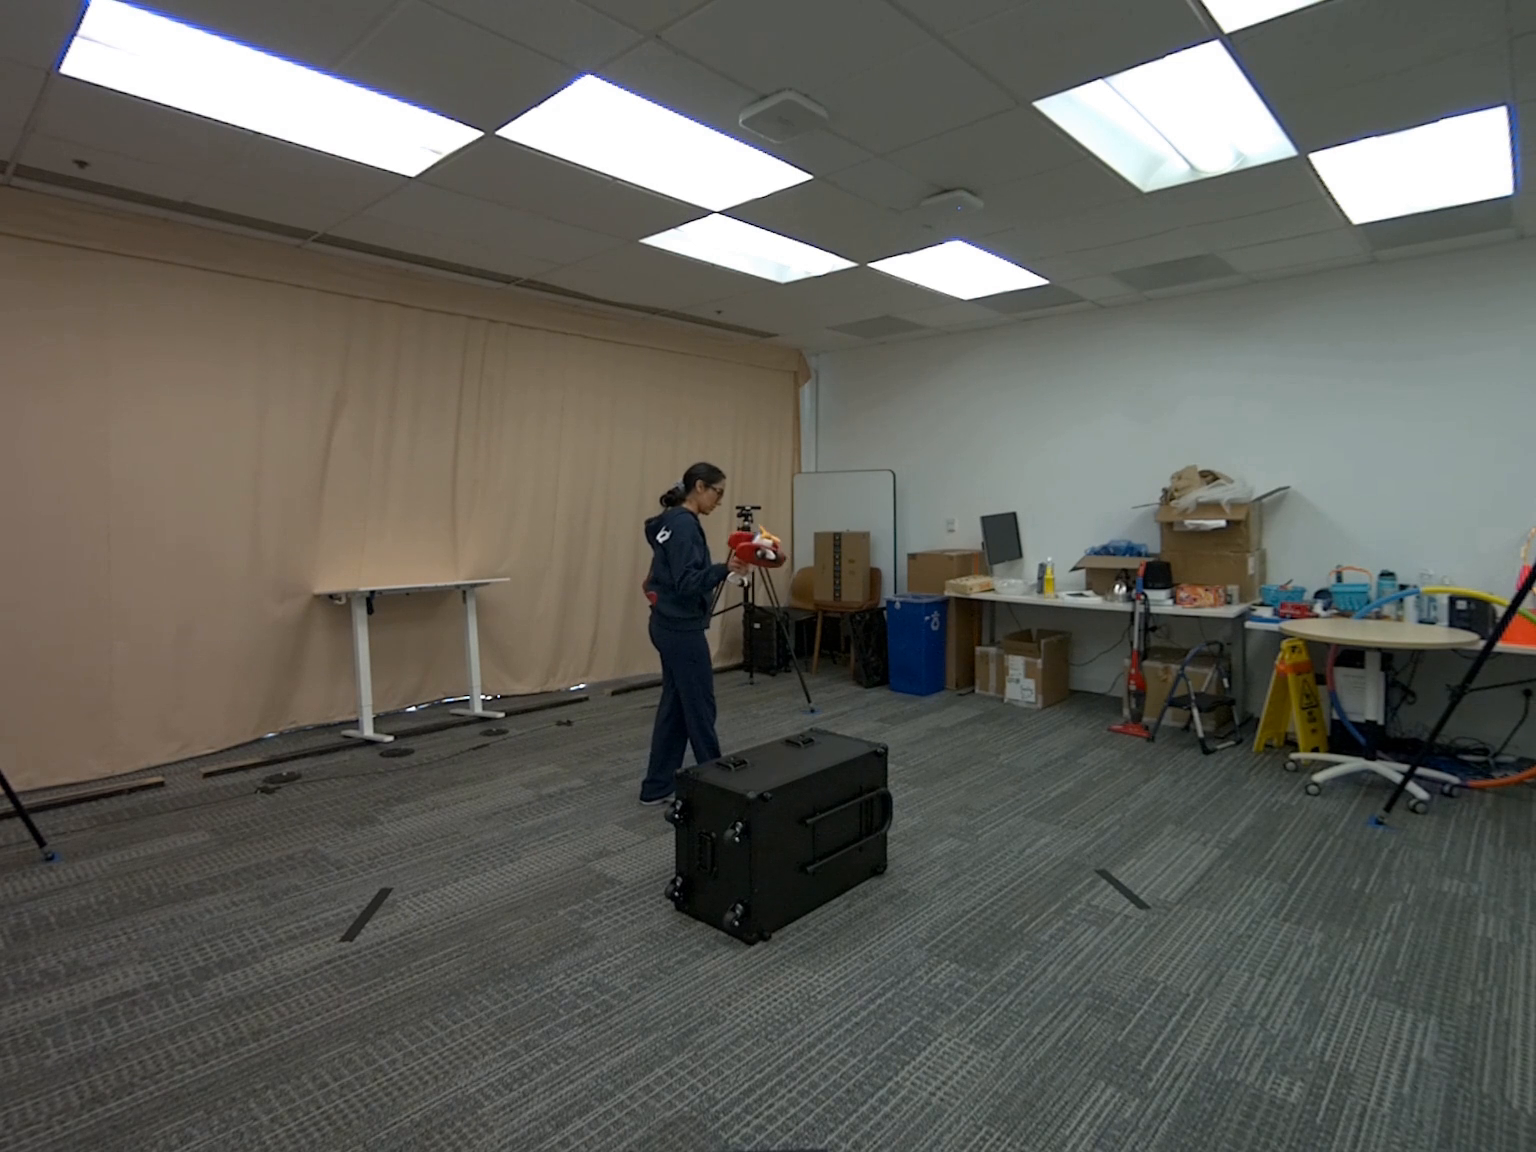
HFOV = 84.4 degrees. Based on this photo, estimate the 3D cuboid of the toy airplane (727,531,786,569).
[{"bbox_3d":[-0.059,-0.075,3.517,0.261,0.161,0.242,-28,-38,11],"label":"toy airplane"}]
